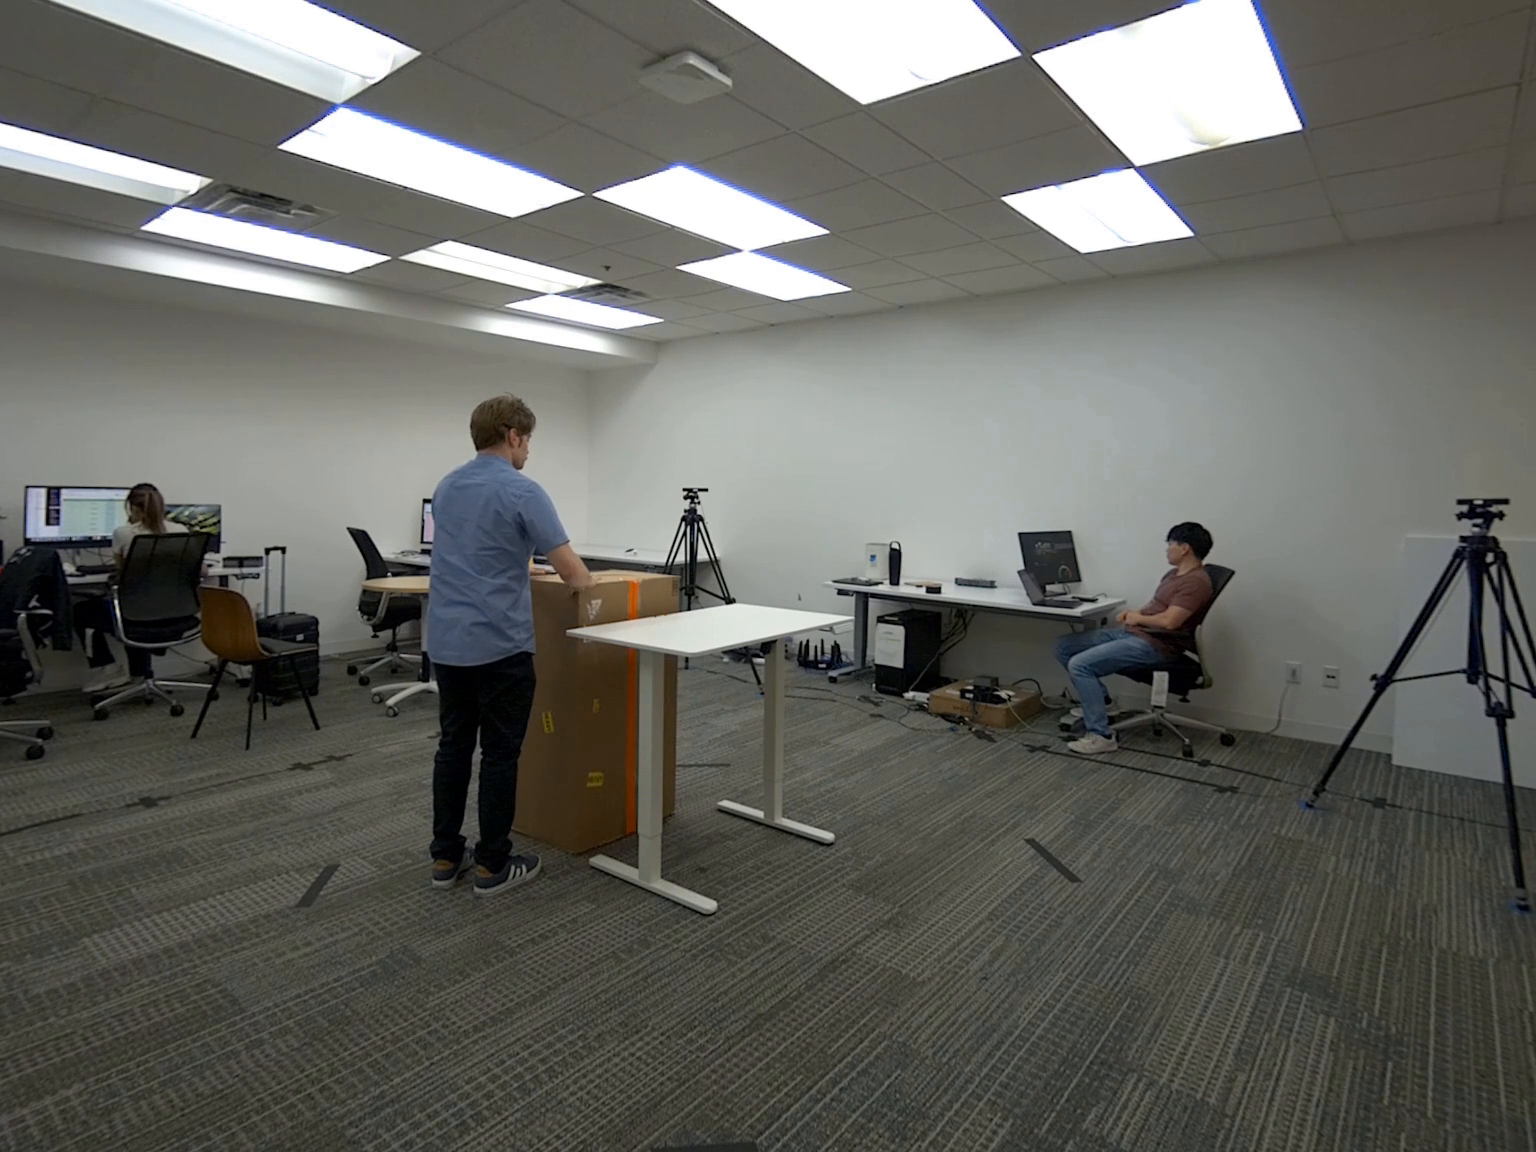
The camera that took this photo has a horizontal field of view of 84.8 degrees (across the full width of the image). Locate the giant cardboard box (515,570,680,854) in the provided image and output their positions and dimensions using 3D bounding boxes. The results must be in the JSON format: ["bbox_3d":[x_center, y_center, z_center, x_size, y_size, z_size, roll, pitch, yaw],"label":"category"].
[{"bbox_3d":[-0.726,0.511,3.534,0.440,1.024,0.560,3,3,37],"label":"giant cardboard box"}]
